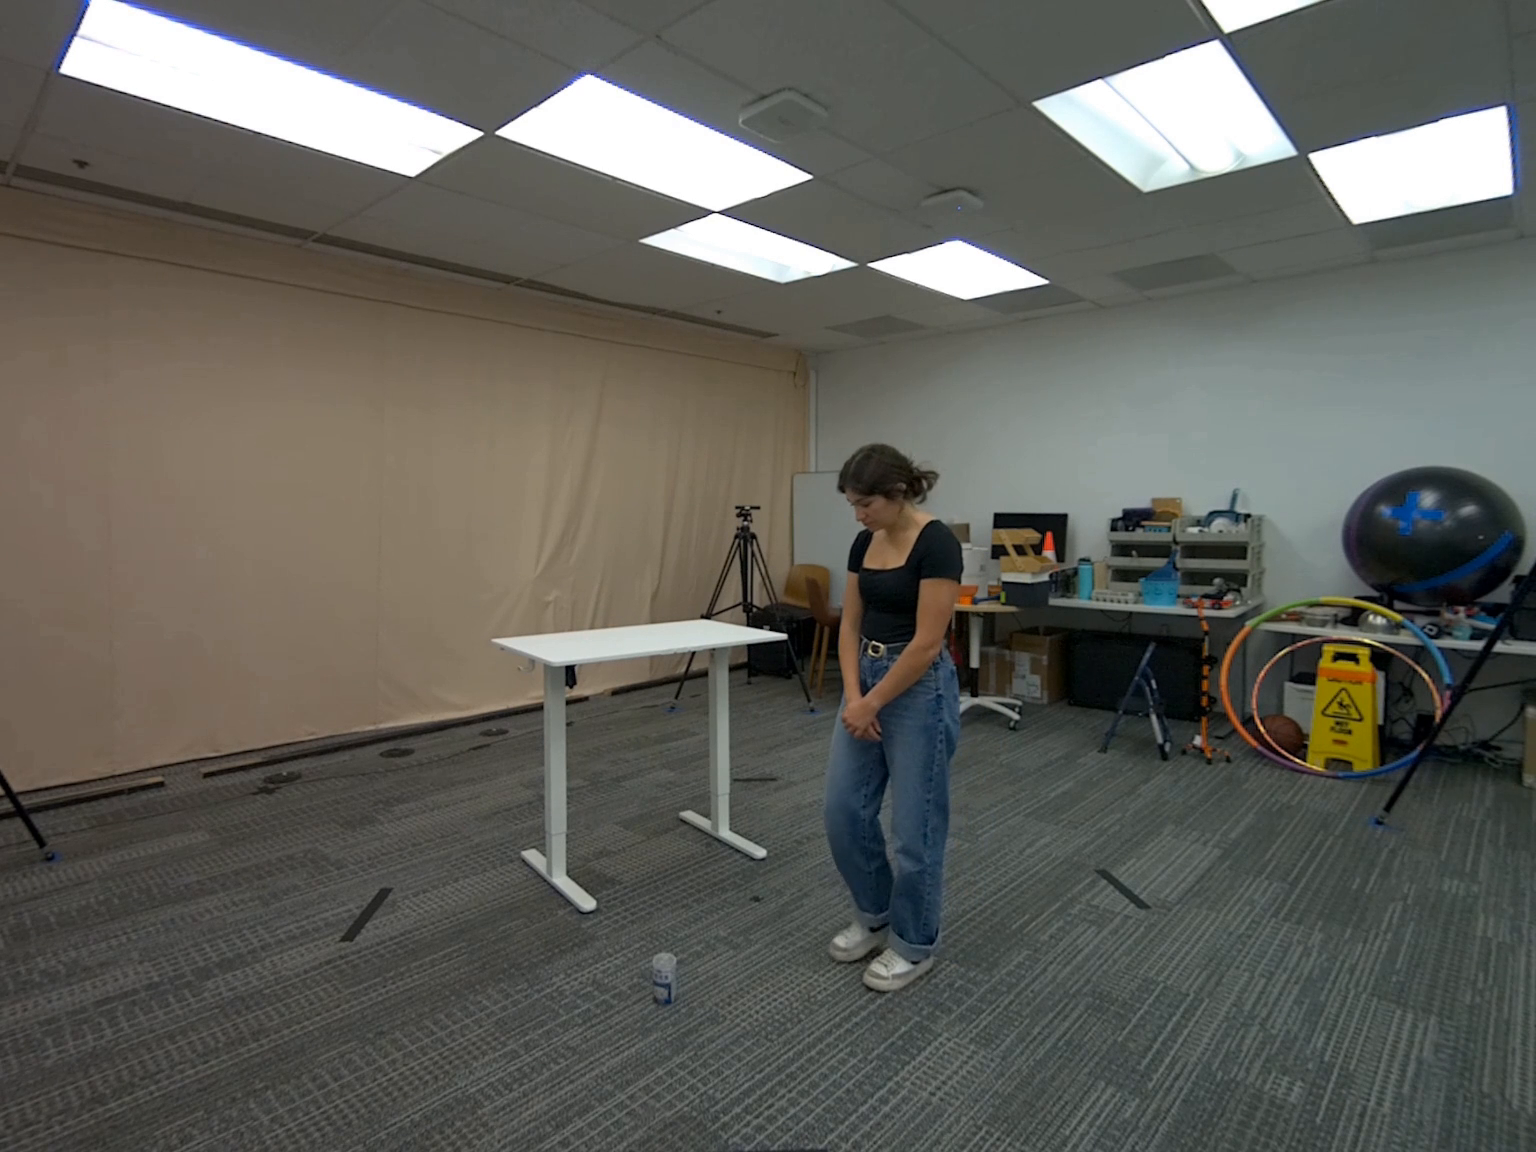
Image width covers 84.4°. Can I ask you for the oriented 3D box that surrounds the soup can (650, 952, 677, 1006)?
[{"bbox_3d":[-0.294,1.130,2.383,0.067,0.121,0.067,-3,3,-2],"label":"soup can"}]
